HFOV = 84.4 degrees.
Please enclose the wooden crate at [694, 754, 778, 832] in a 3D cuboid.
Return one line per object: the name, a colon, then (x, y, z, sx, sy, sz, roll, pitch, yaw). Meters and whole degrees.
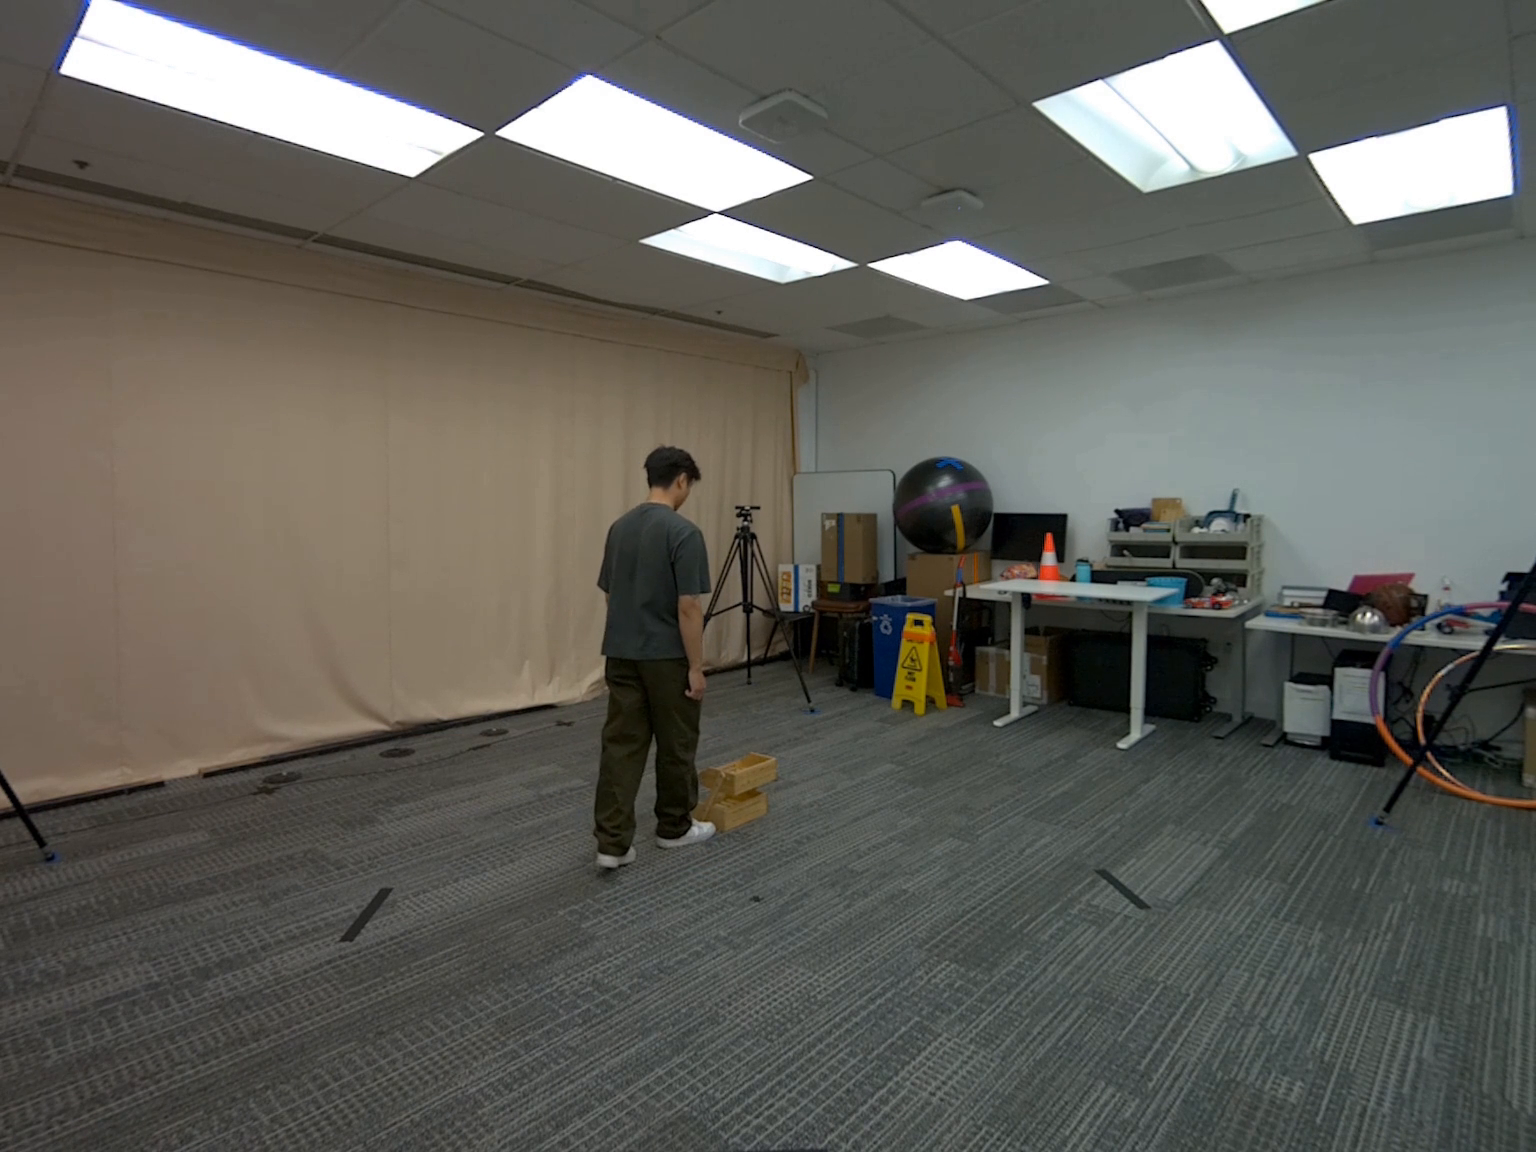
wooden crate: (-0.169, 0.948, 3.775, 0.312, 0.272, 0.315, 4, 5, 39)
